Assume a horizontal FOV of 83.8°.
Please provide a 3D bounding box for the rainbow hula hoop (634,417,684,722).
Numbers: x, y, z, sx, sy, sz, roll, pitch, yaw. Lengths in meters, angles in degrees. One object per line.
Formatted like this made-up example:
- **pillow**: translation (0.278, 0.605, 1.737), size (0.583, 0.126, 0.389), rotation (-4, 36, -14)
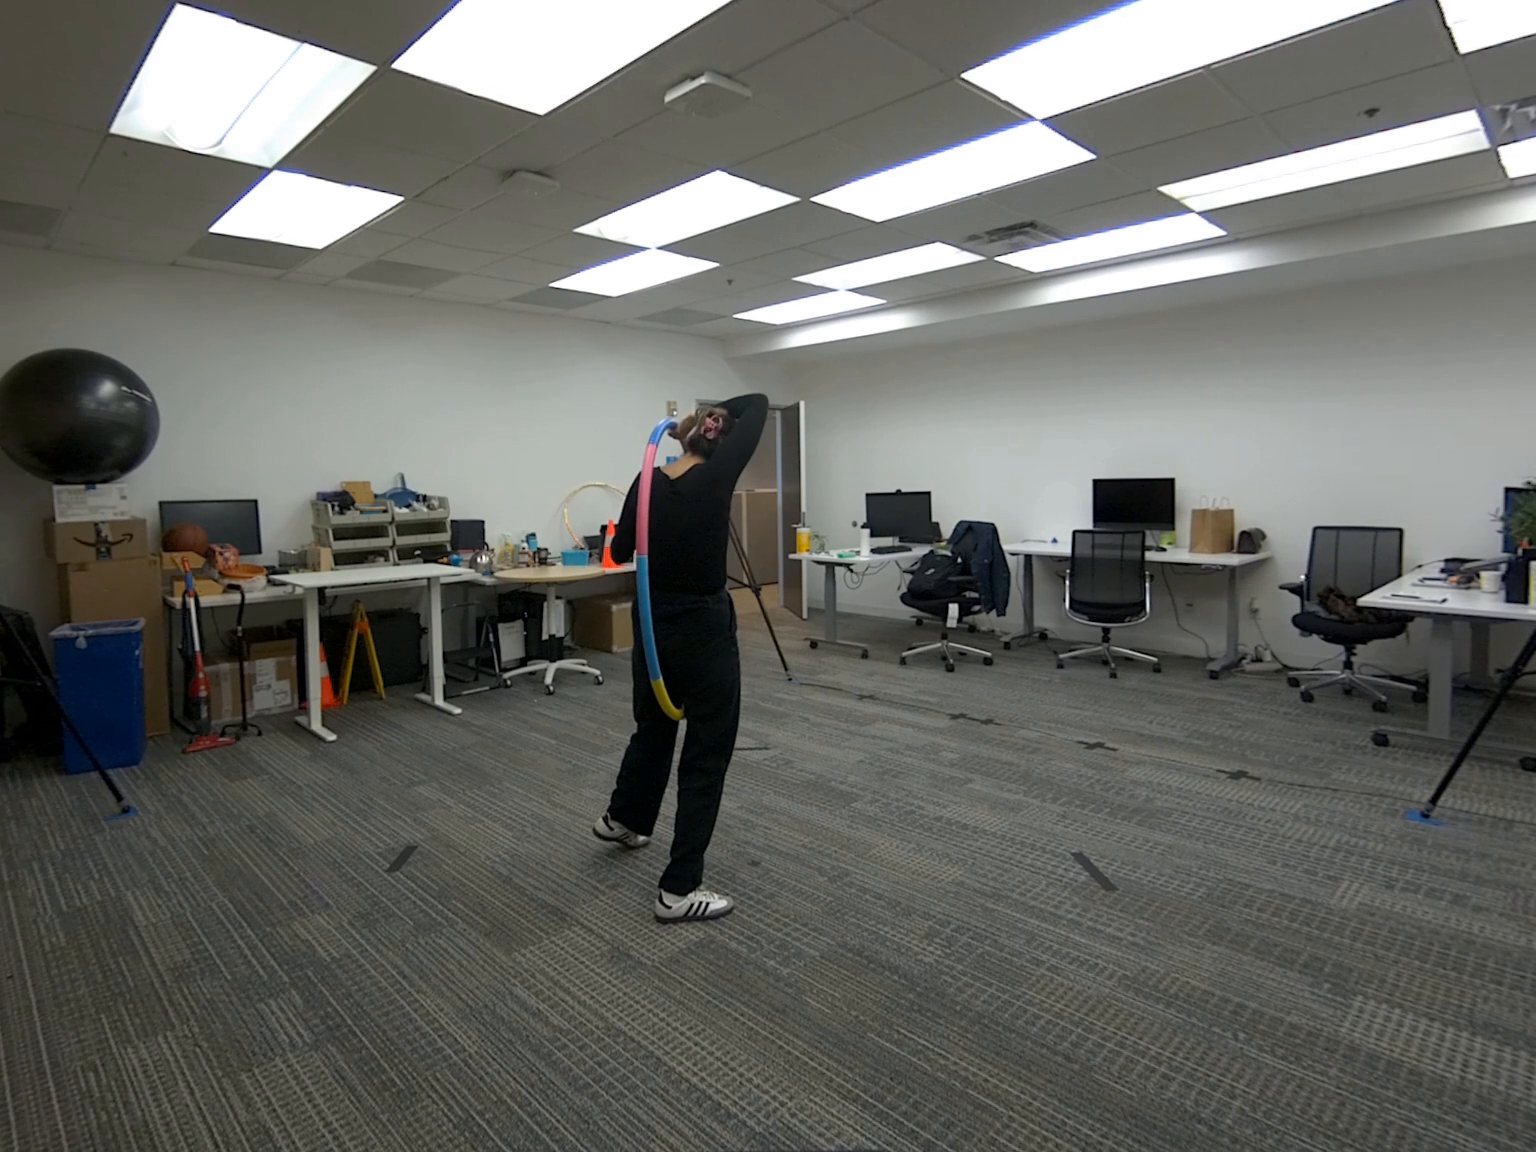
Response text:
- **rainbow hula hoop**: translation (-0.303, -0.030, 2.863), size (0.036, 0.975, 0.975), rotation (-2, 5, 6)
